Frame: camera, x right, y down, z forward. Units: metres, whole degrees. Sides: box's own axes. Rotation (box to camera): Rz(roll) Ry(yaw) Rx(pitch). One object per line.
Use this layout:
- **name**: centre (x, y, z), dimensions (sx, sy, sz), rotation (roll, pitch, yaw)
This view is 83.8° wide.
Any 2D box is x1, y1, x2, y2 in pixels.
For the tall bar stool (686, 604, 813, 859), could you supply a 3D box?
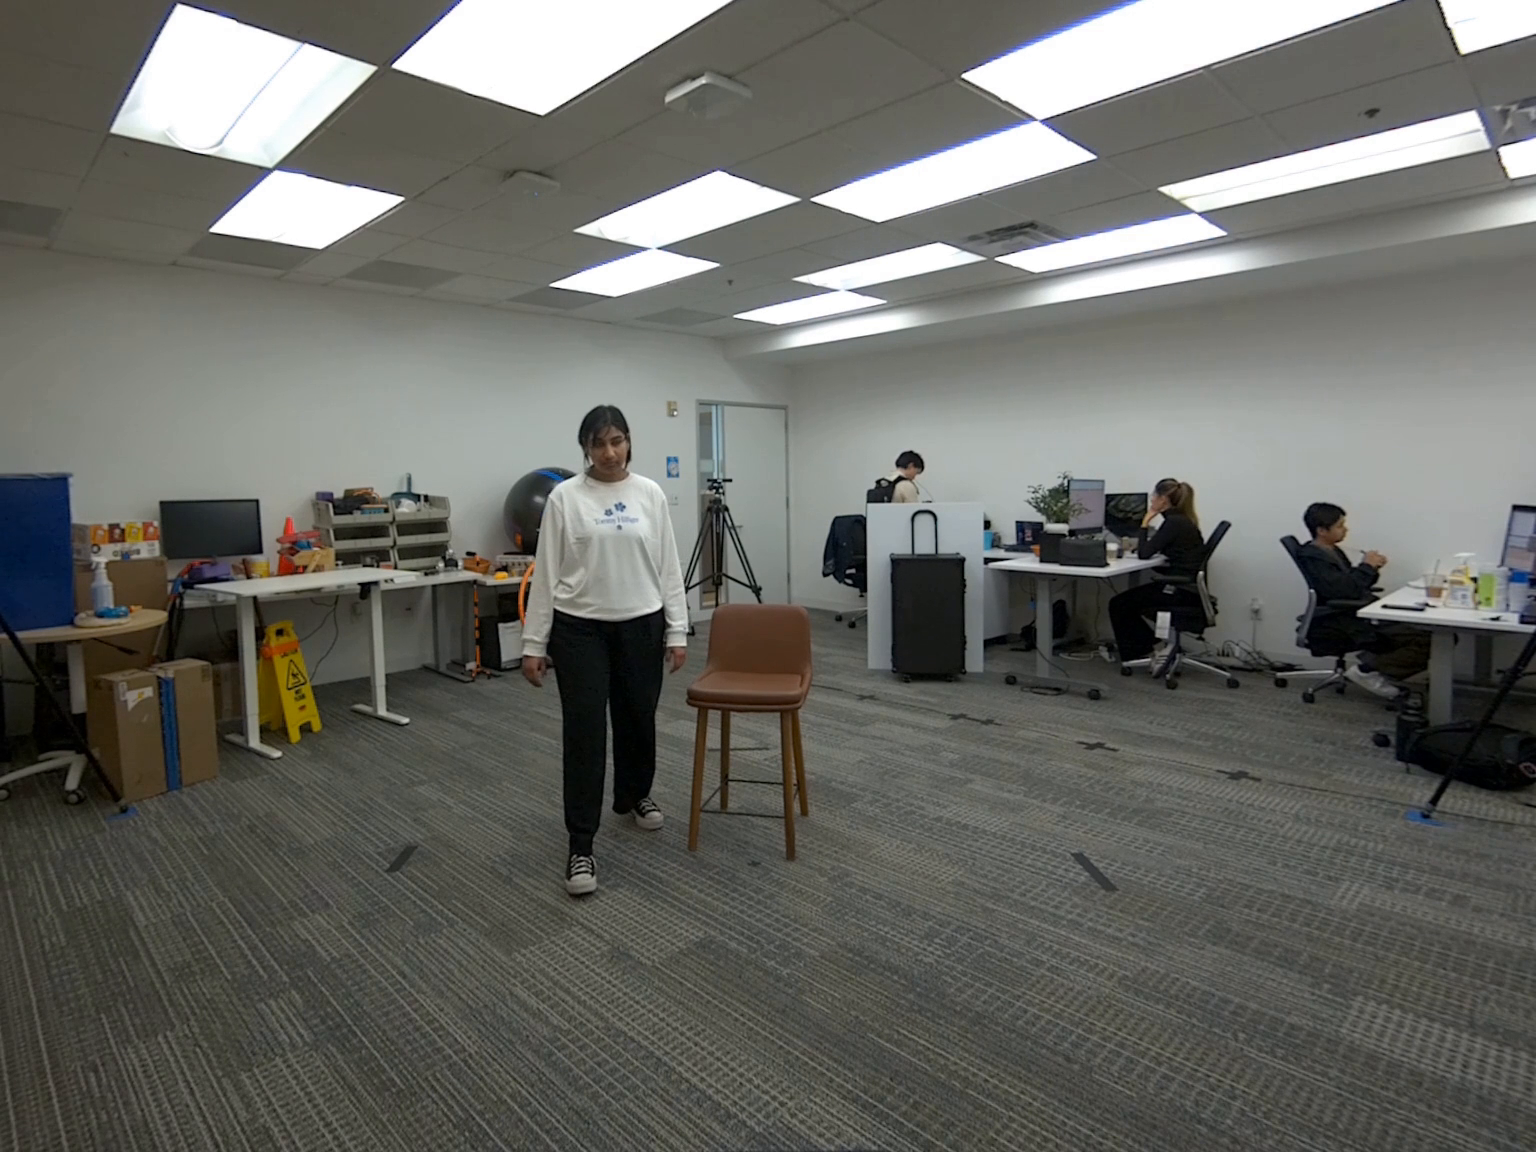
- **tall bar stool**: centre (-0.063, 0.582, 3.374), dimensions (0.463, 0.888, 0.462), rotation (0, 3, 14)
